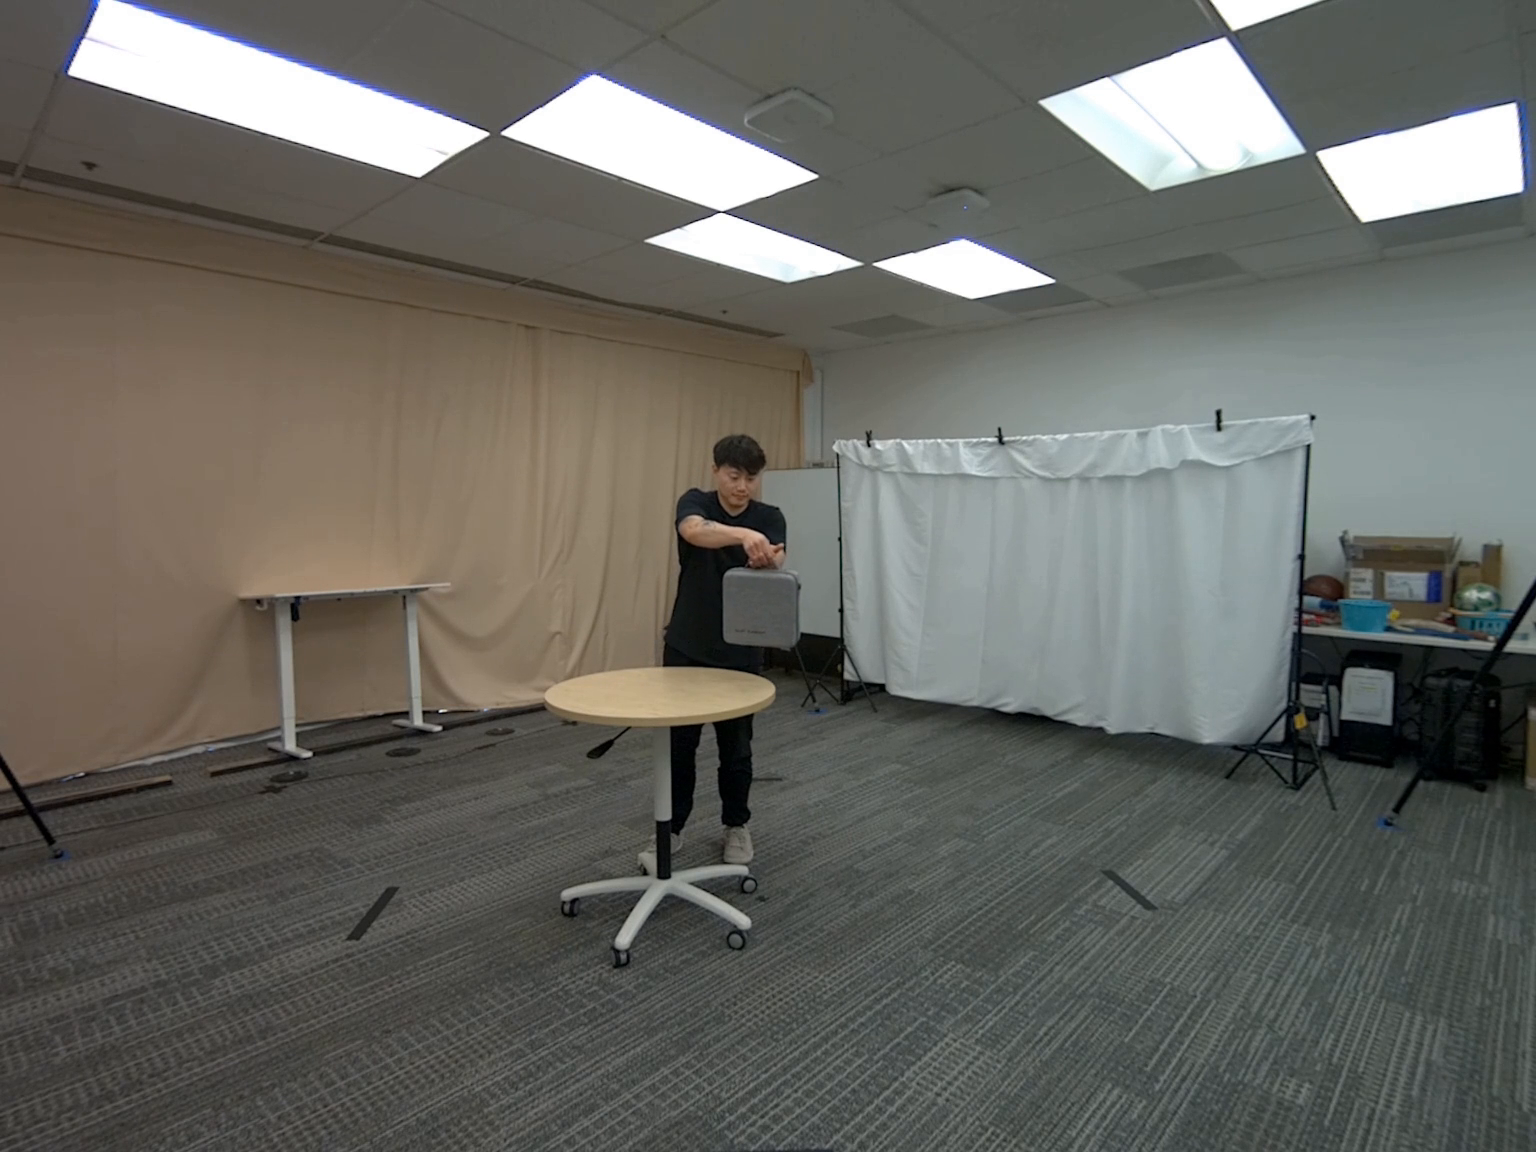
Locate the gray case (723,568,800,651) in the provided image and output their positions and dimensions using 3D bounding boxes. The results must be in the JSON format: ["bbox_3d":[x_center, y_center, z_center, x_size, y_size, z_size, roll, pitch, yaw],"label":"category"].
[{"bbox_3d":[-0.022,0.103,2.816,0.263,0.259,0.102,4,7,22],"label":"gray case"}]
